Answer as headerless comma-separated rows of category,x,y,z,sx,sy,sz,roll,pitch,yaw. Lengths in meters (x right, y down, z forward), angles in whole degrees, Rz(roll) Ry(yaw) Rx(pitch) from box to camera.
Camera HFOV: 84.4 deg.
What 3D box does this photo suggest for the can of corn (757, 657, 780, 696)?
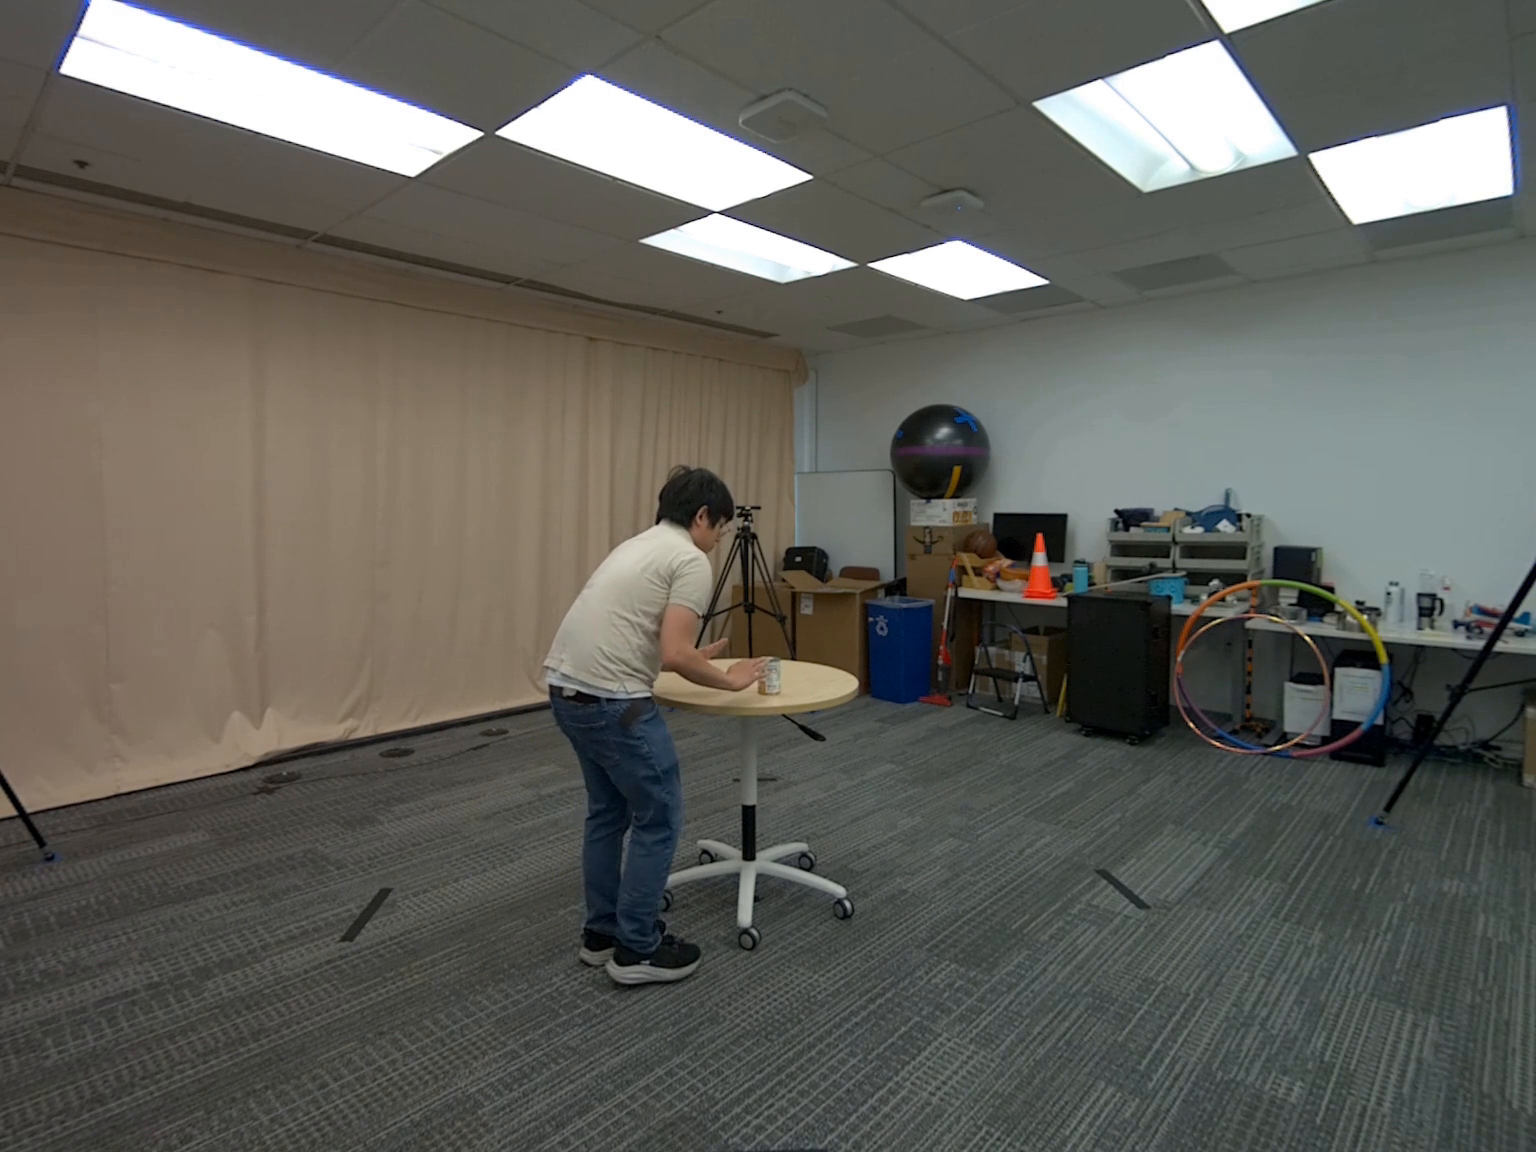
can of corn,0.006,0.330,2.735,0.074,0.111,0.074,-1,5,-2
